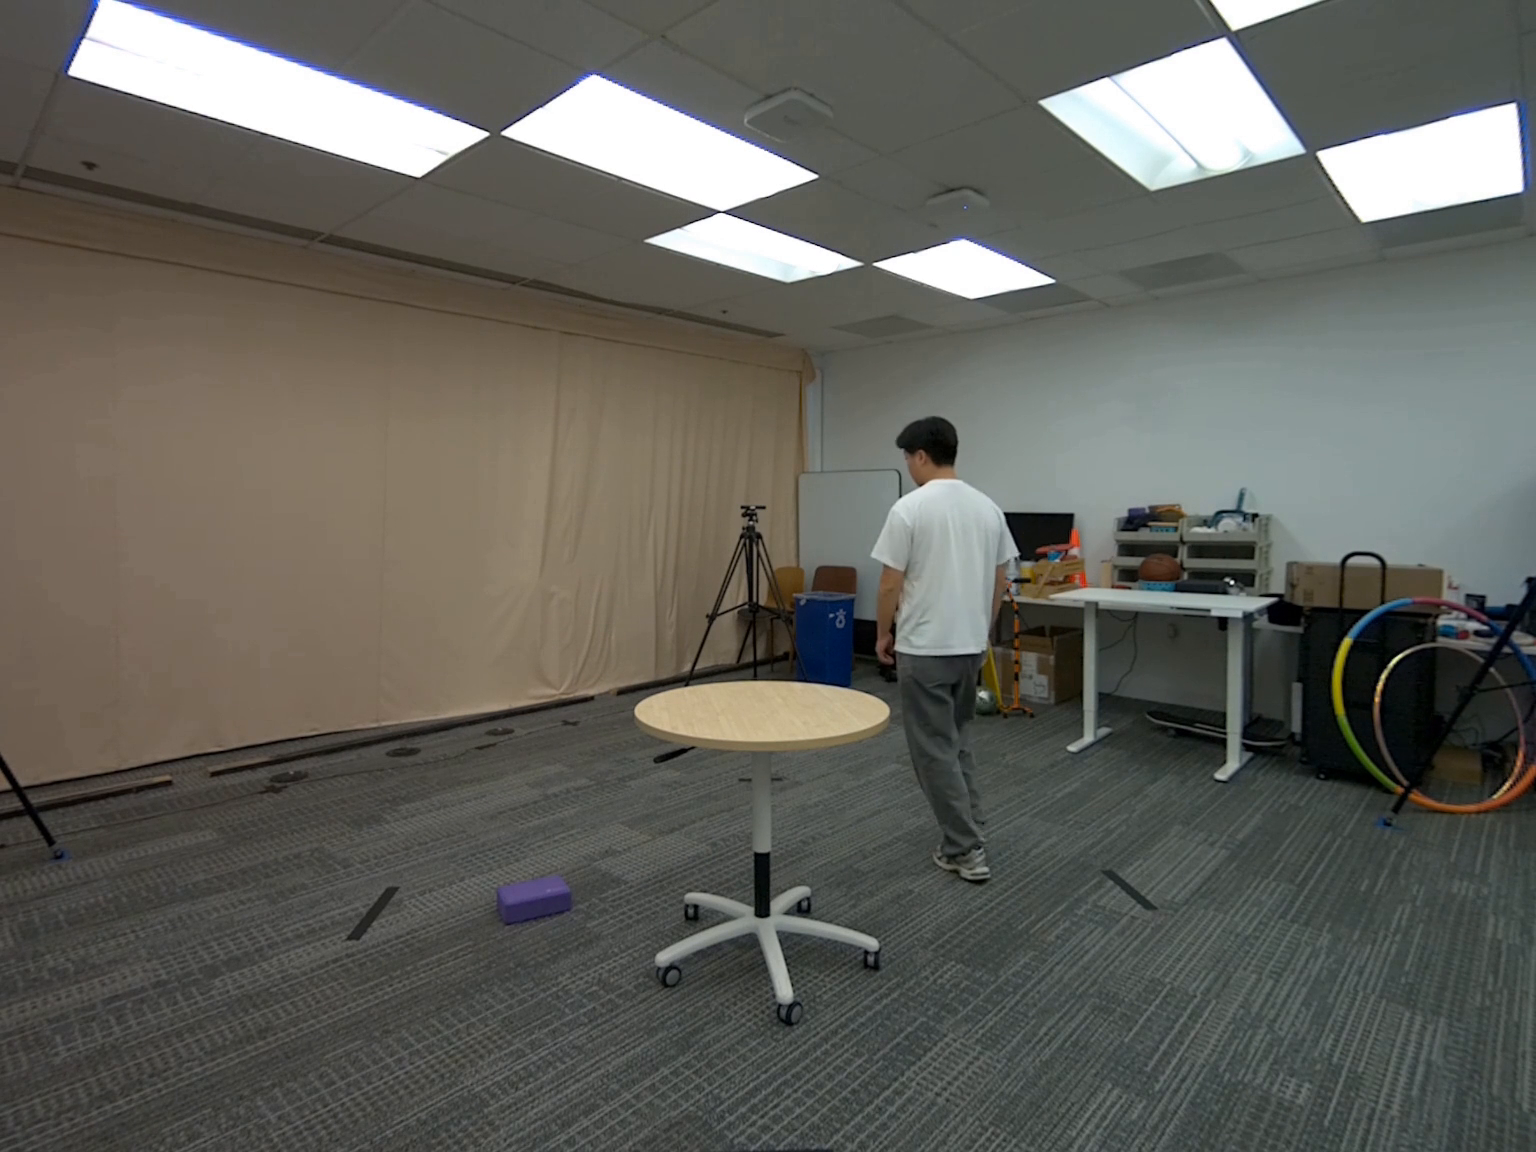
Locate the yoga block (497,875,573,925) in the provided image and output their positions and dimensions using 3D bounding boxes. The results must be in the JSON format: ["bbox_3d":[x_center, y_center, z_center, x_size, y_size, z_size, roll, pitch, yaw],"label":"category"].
[{"bbox_3d":[-0.807,1.121,2.909,0.223,0.076,0.153,-3,5,-28],"label":"yoga block"}]
